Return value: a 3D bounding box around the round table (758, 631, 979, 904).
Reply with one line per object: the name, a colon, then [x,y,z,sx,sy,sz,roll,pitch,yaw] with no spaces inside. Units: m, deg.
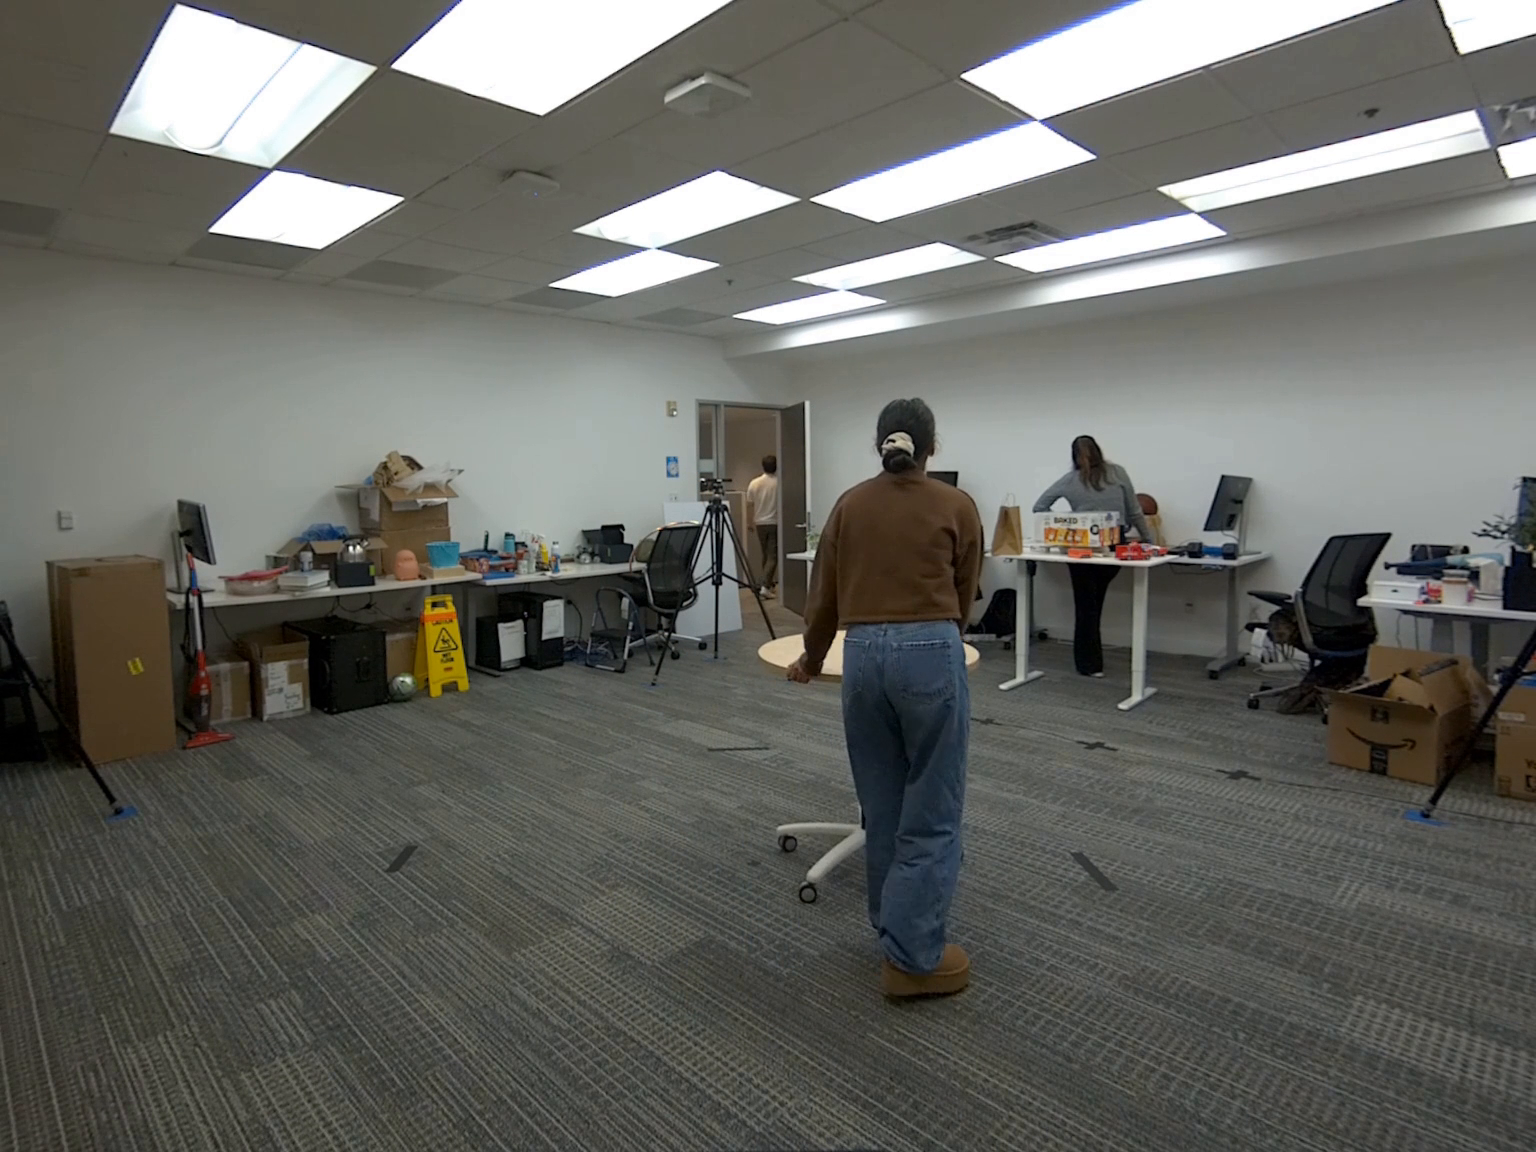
round table: [0.365,0.654,3.031,0.784,0.783,0.789,-2,5,-2]
